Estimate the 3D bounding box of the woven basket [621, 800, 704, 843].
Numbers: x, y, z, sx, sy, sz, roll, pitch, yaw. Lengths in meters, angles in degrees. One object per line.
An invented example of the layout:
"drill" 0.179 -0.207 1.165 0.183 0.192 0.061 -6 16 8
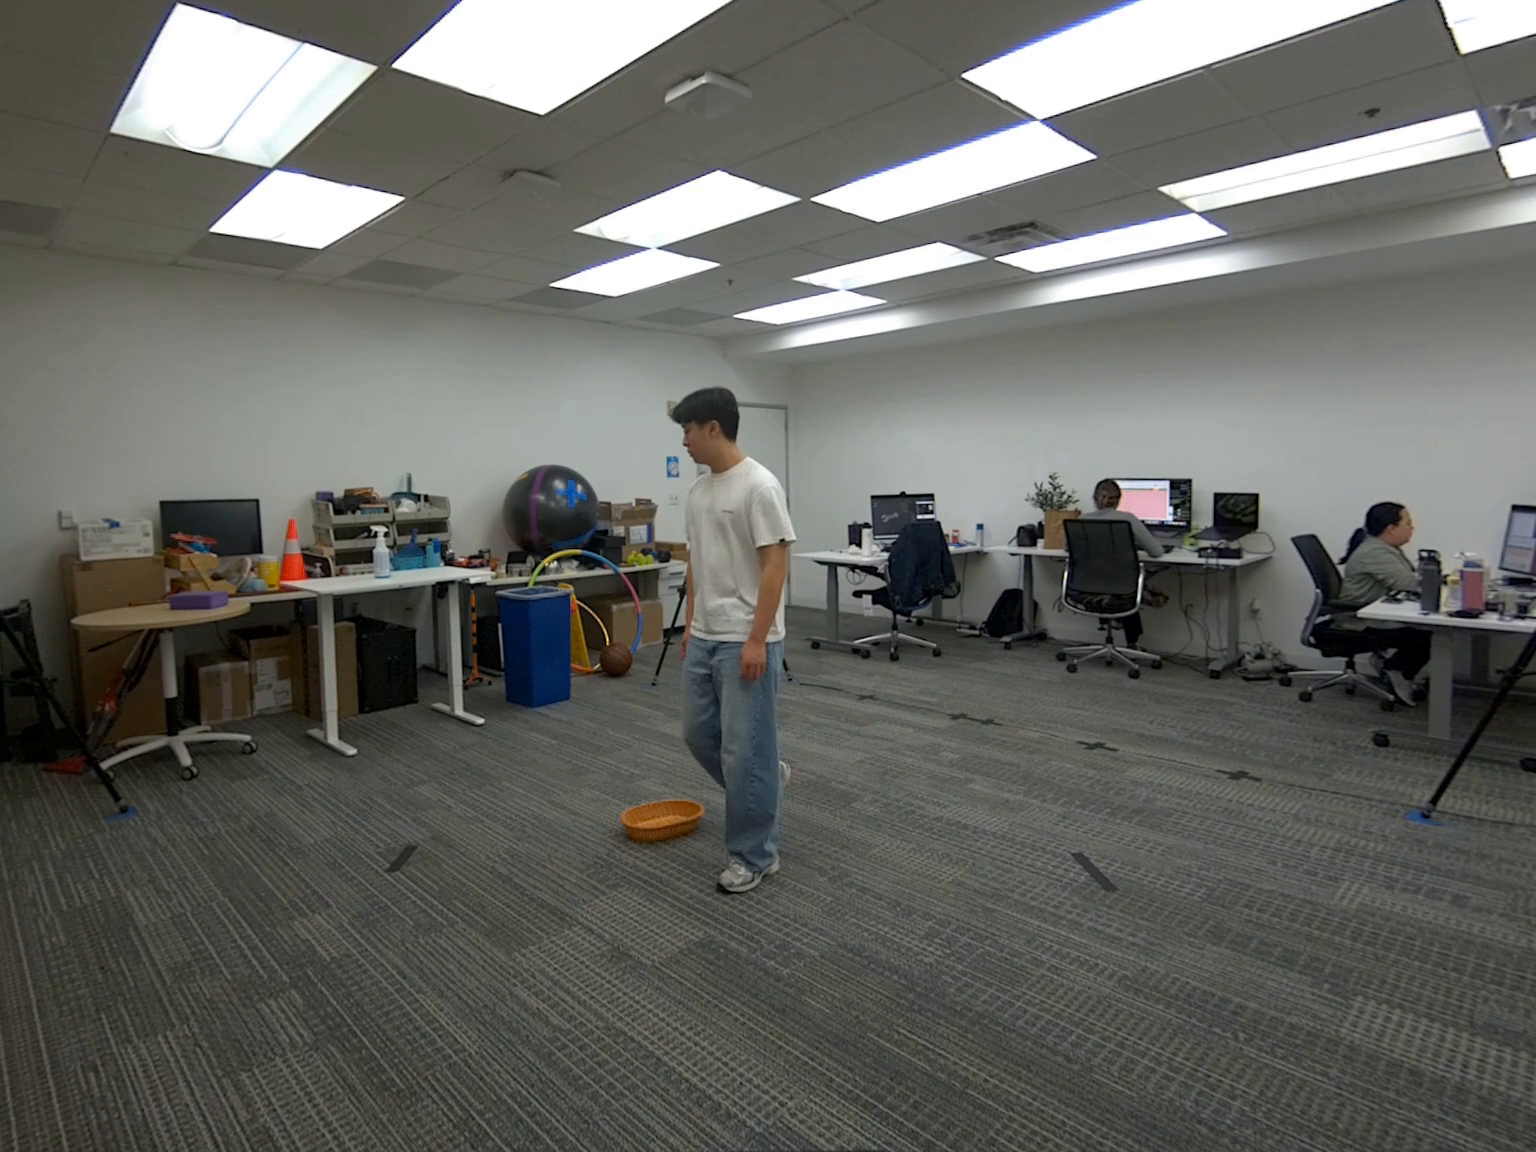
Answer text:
"woven basket" -0.415 0.981 3.413 0.342 0.073 0.259 -4 7 -29
